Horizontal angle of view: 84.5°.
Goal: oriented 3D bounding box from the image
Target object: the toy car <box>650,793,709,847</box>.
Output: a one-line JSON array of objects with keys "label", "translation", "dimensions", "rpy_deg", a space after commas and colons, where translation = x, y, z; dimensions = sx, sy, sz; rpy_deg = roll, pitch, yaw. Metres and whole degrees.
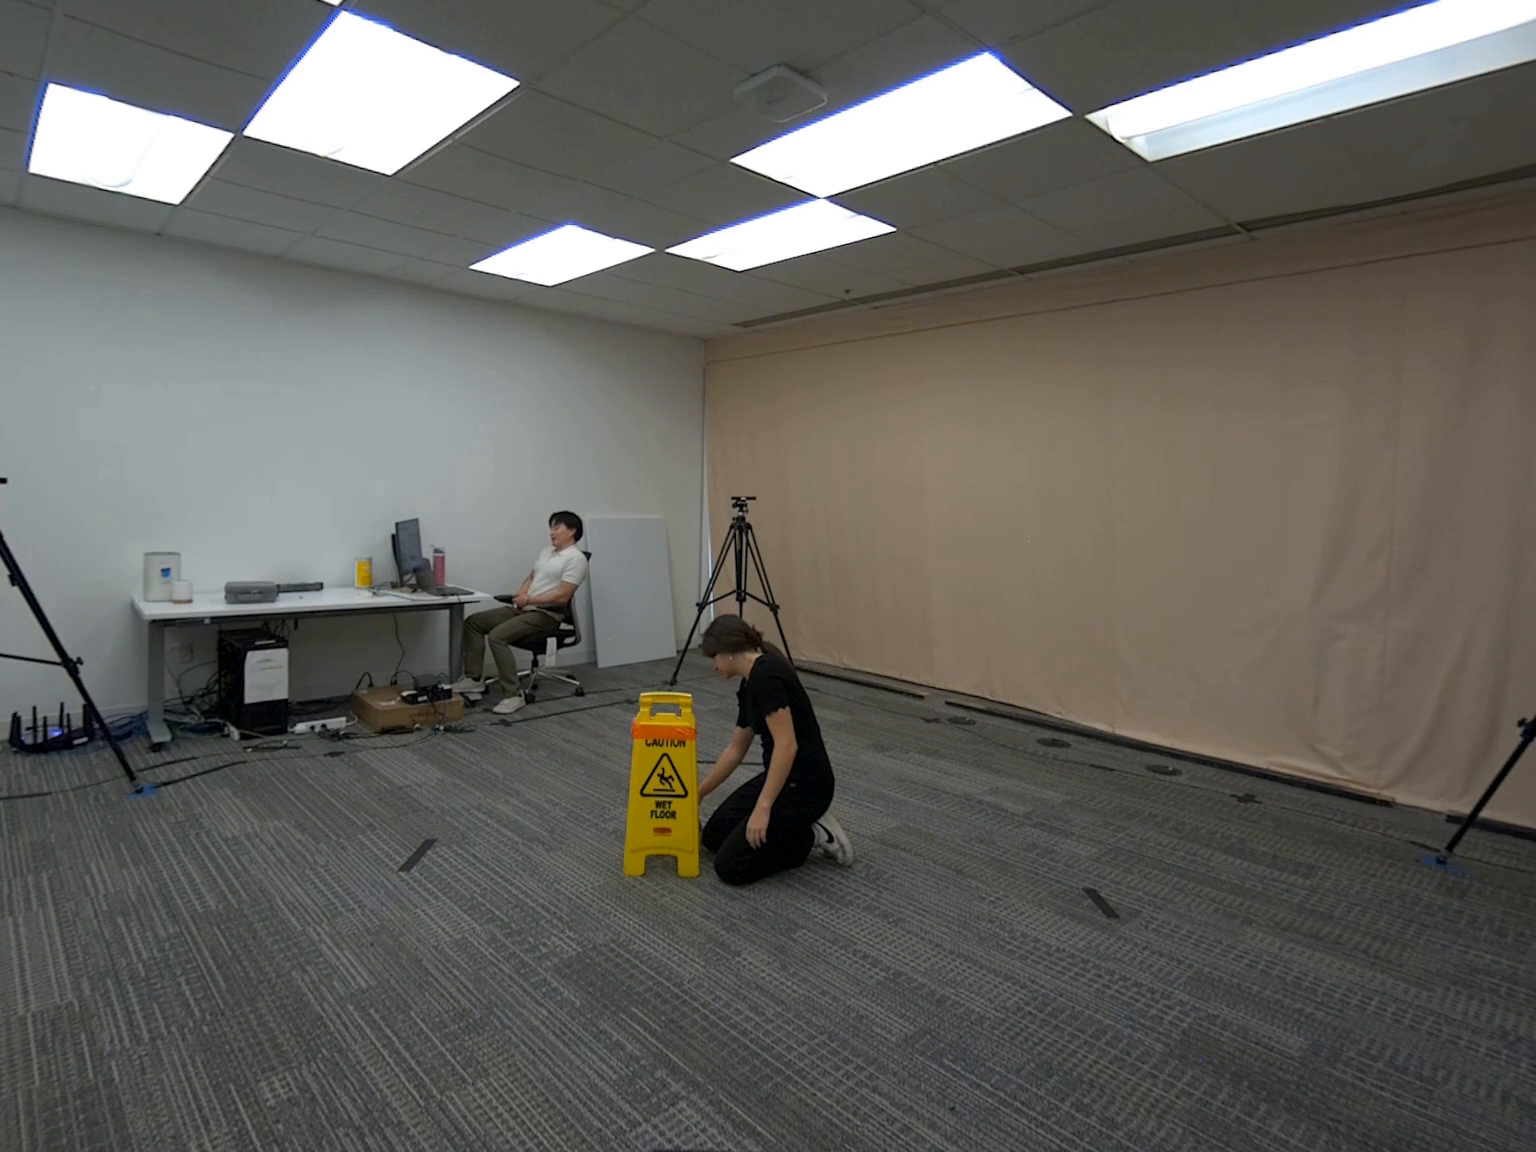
[{"label": "toy car", "translation": [-0.350, 0.975, 3.376], "dimensions": [0.131, 0.085, 0.246], "rpy_deg": [-21, -44, 13]}]
